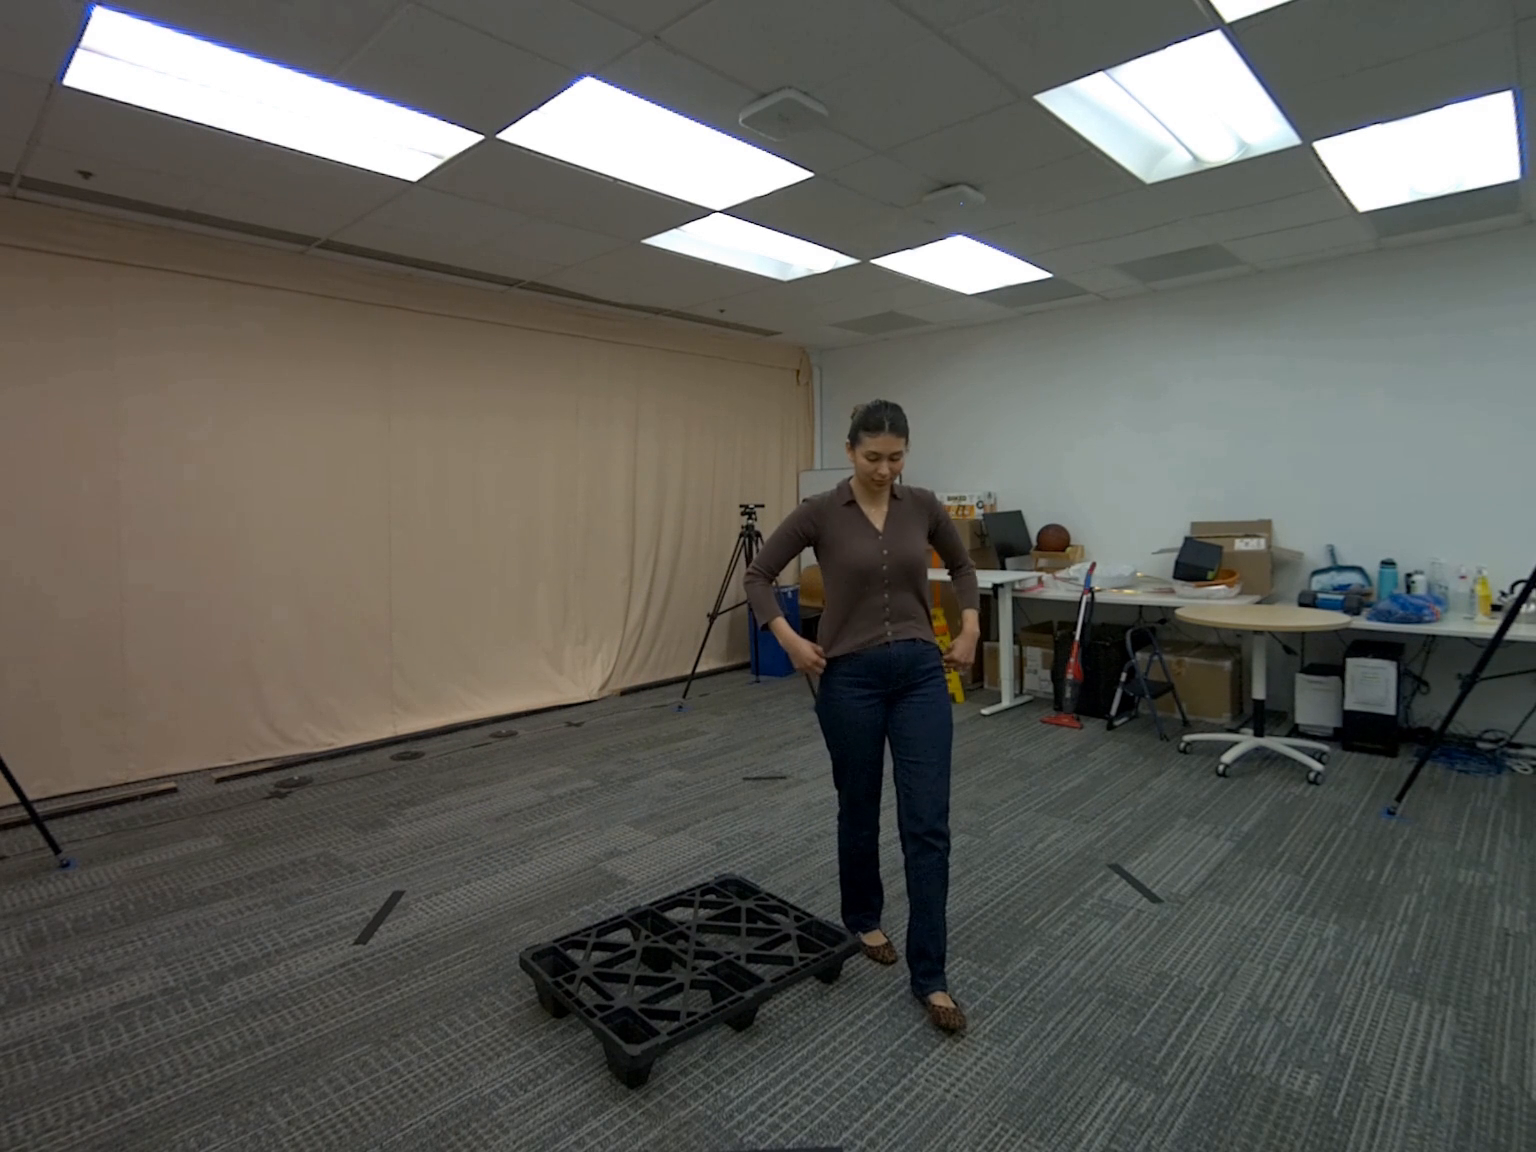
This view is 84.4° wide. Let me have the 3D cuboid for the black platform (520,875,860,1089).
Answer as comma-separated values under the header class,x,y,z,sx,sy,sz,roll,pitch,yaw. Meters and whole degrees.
class,x,y,z,sx,sy,sz,roll,pitch,yaw
black platform,-0.221,1.127,2.414,0.781,0.143,0.625,-5,5,-40
